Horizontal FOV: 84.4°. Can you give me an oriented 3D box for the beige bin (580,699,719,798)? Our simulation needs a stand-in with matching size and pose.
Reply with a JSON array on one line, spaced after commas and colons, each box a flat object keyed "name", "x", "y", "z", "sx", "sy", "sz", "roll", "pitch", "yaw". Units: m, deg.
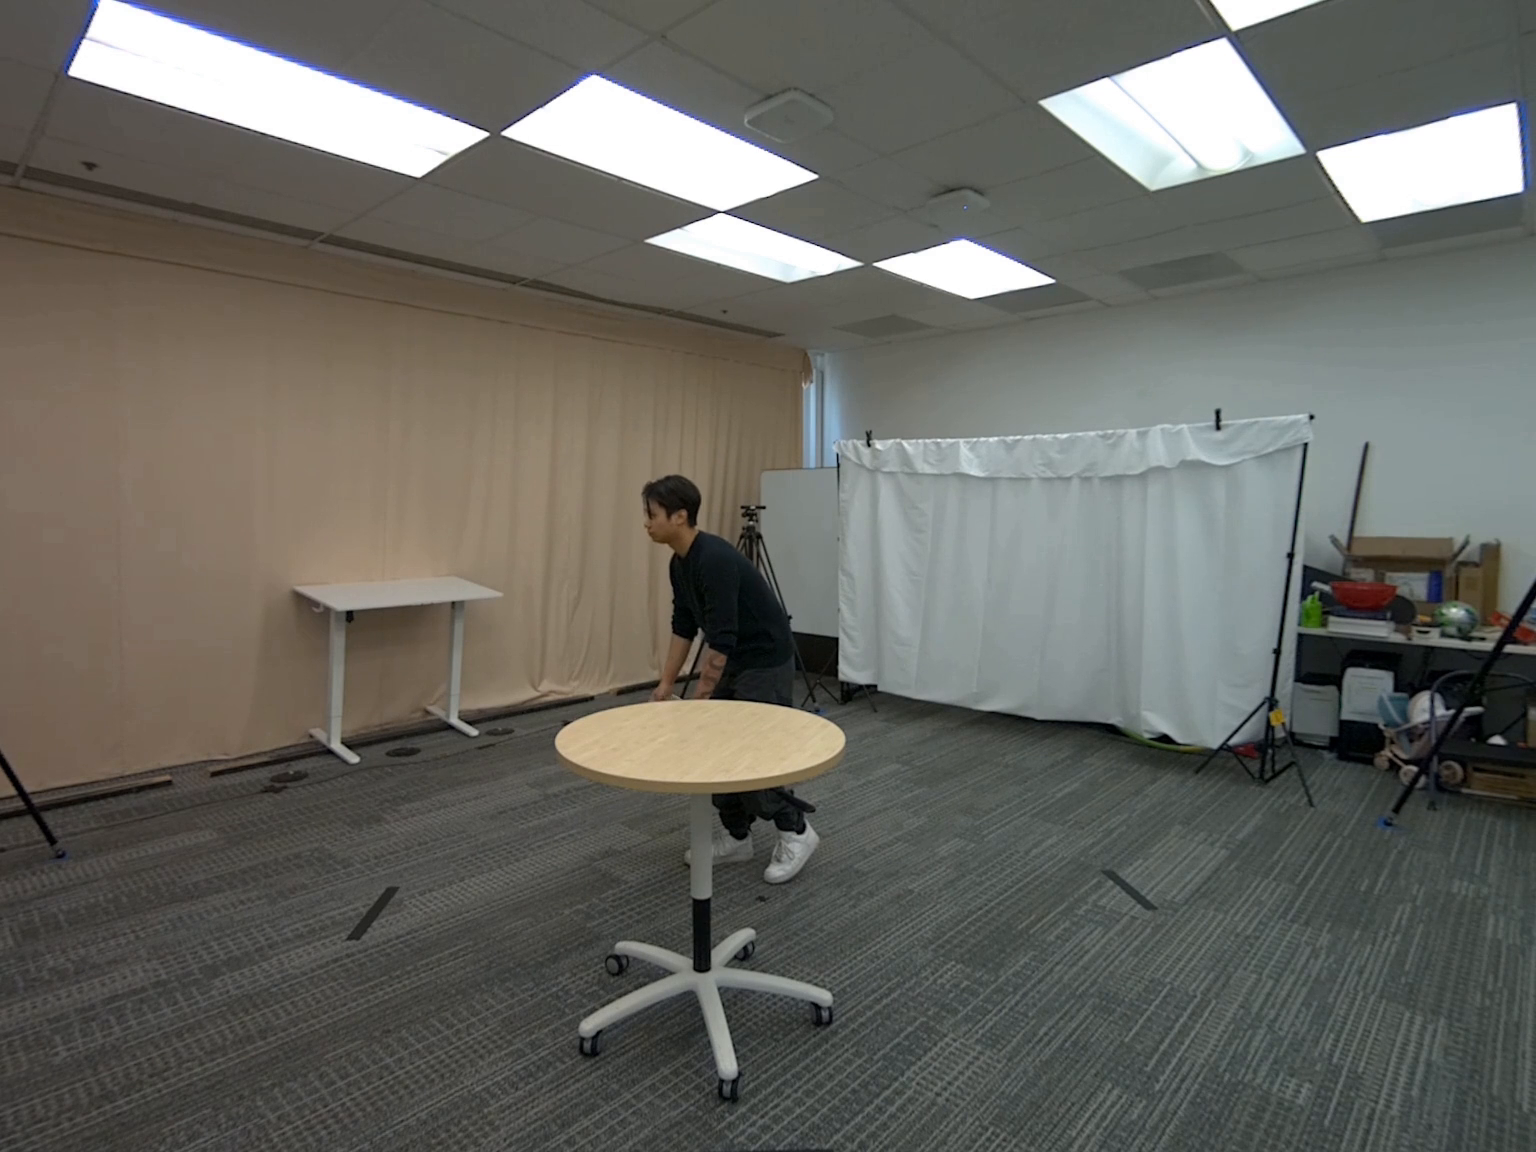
[{"name": "beige bin", "x": -0.459, "y": 0.628, "z": 3.194, "sx": 0.370, "sy": 0.188, "sz": 0.432, "roll": -15, "pitch": 6, "yaw": -24}]
